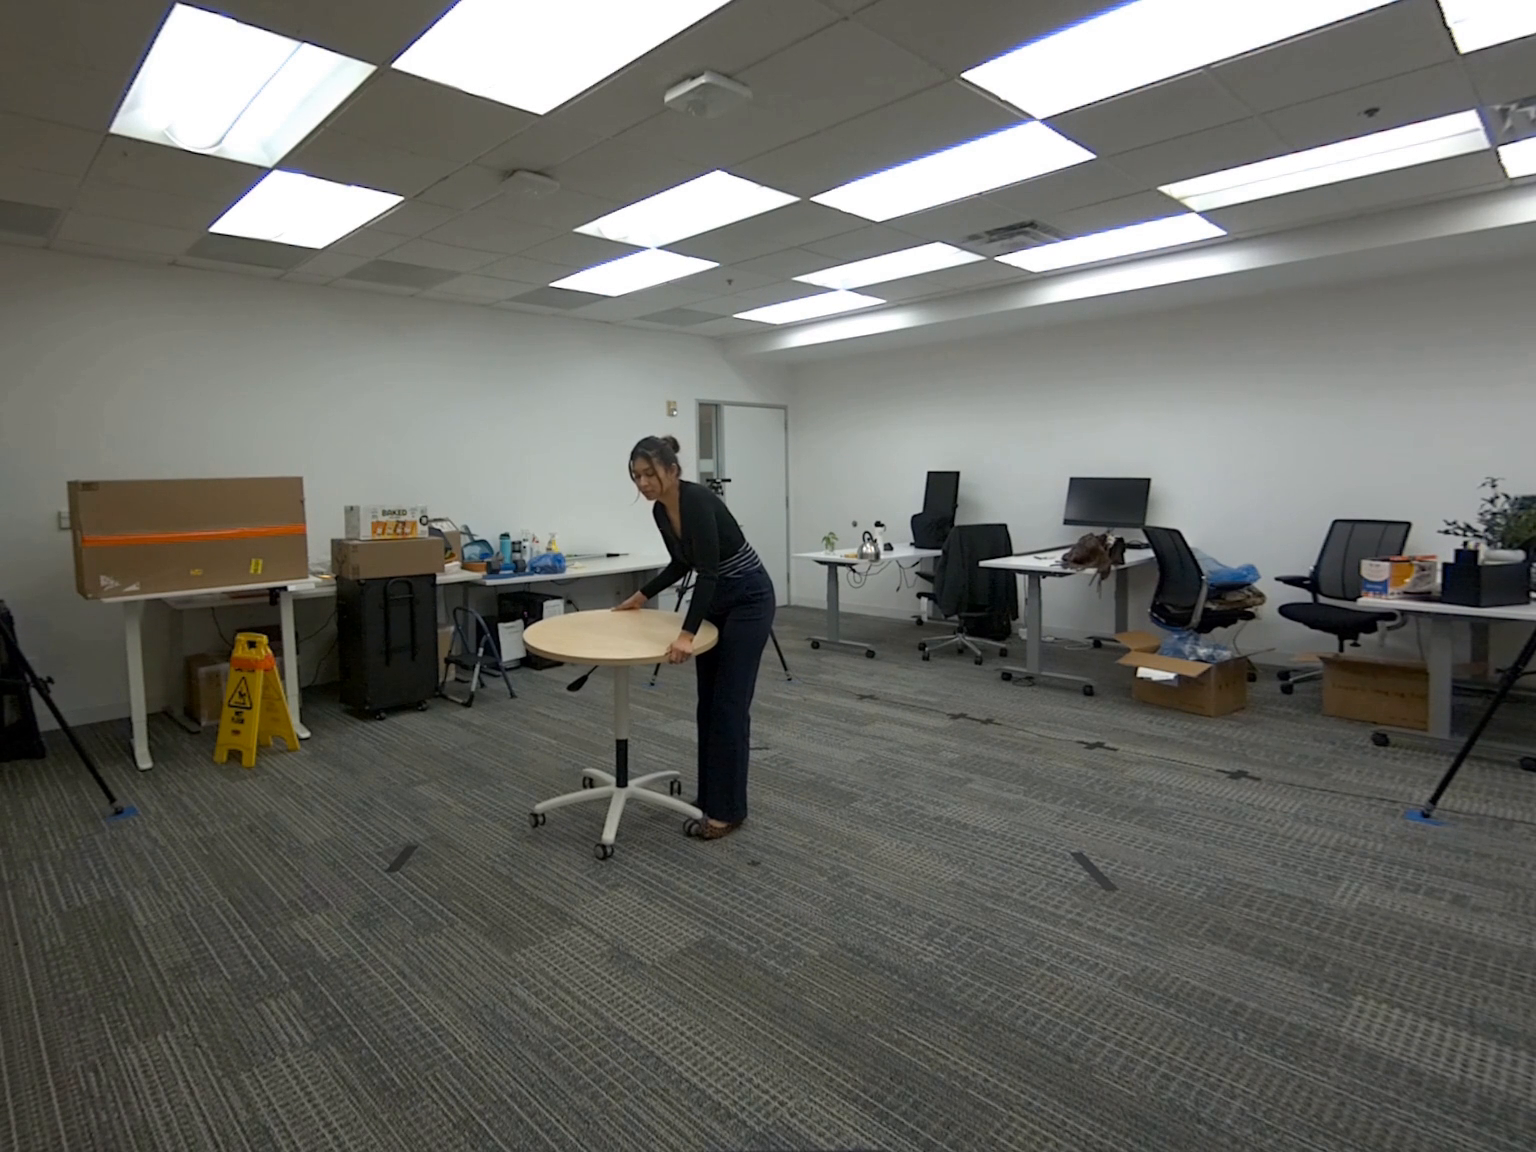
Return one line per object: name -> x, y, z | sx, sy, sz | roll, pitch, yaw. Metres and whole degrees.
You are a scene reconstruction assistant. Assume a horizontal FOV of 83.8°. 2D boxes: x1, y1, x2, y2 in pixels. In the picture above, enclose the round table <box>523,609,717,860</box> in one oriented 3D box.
round table -> -0.589, 0.608, 3.436 | 0.763, 0.788, 0.771 | 1, 9, -2
